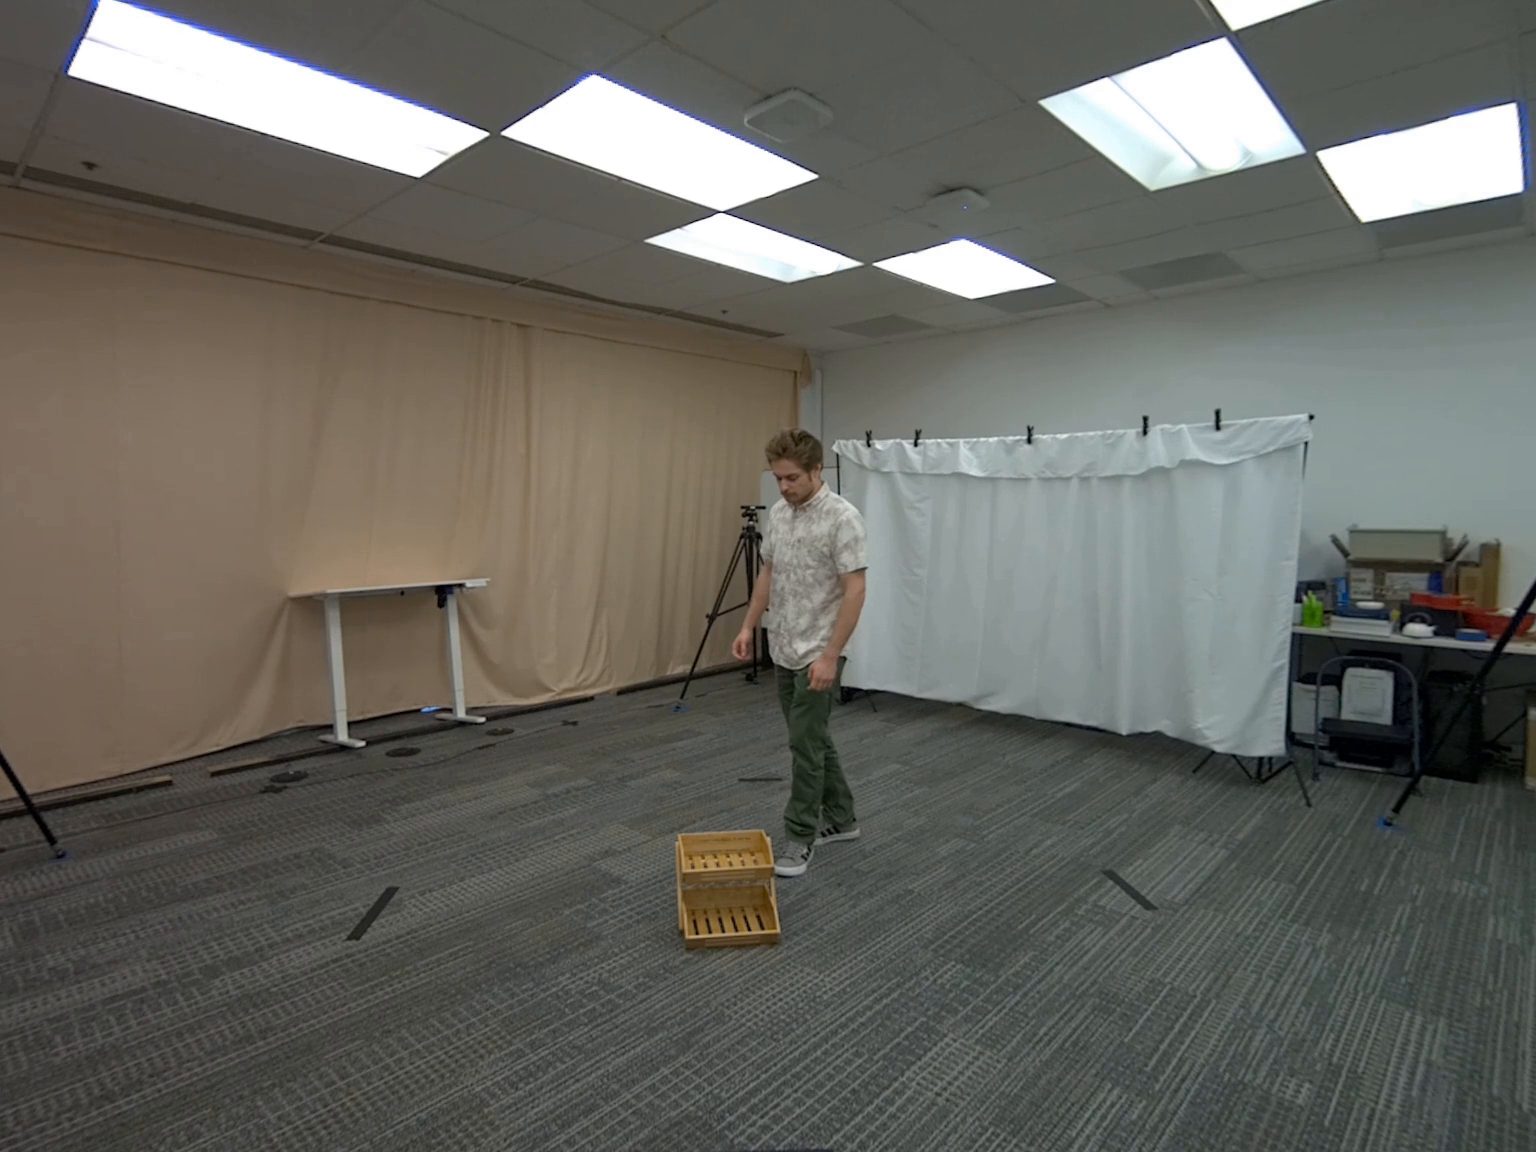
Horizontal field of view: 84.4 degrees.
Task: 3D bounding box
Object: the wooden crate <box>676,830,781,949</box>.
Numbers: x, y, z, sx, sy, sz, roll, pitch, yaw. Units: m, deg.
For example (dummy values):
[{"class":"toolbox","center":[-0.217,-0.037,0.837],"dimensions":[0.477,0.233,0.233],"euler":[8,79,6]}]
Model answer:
[{"class":"wooden crate","center":[-0.135,1.027,2.775],"dimensions":[0.322,0.273,0.305],"euler":[-1,4,-9]}]
